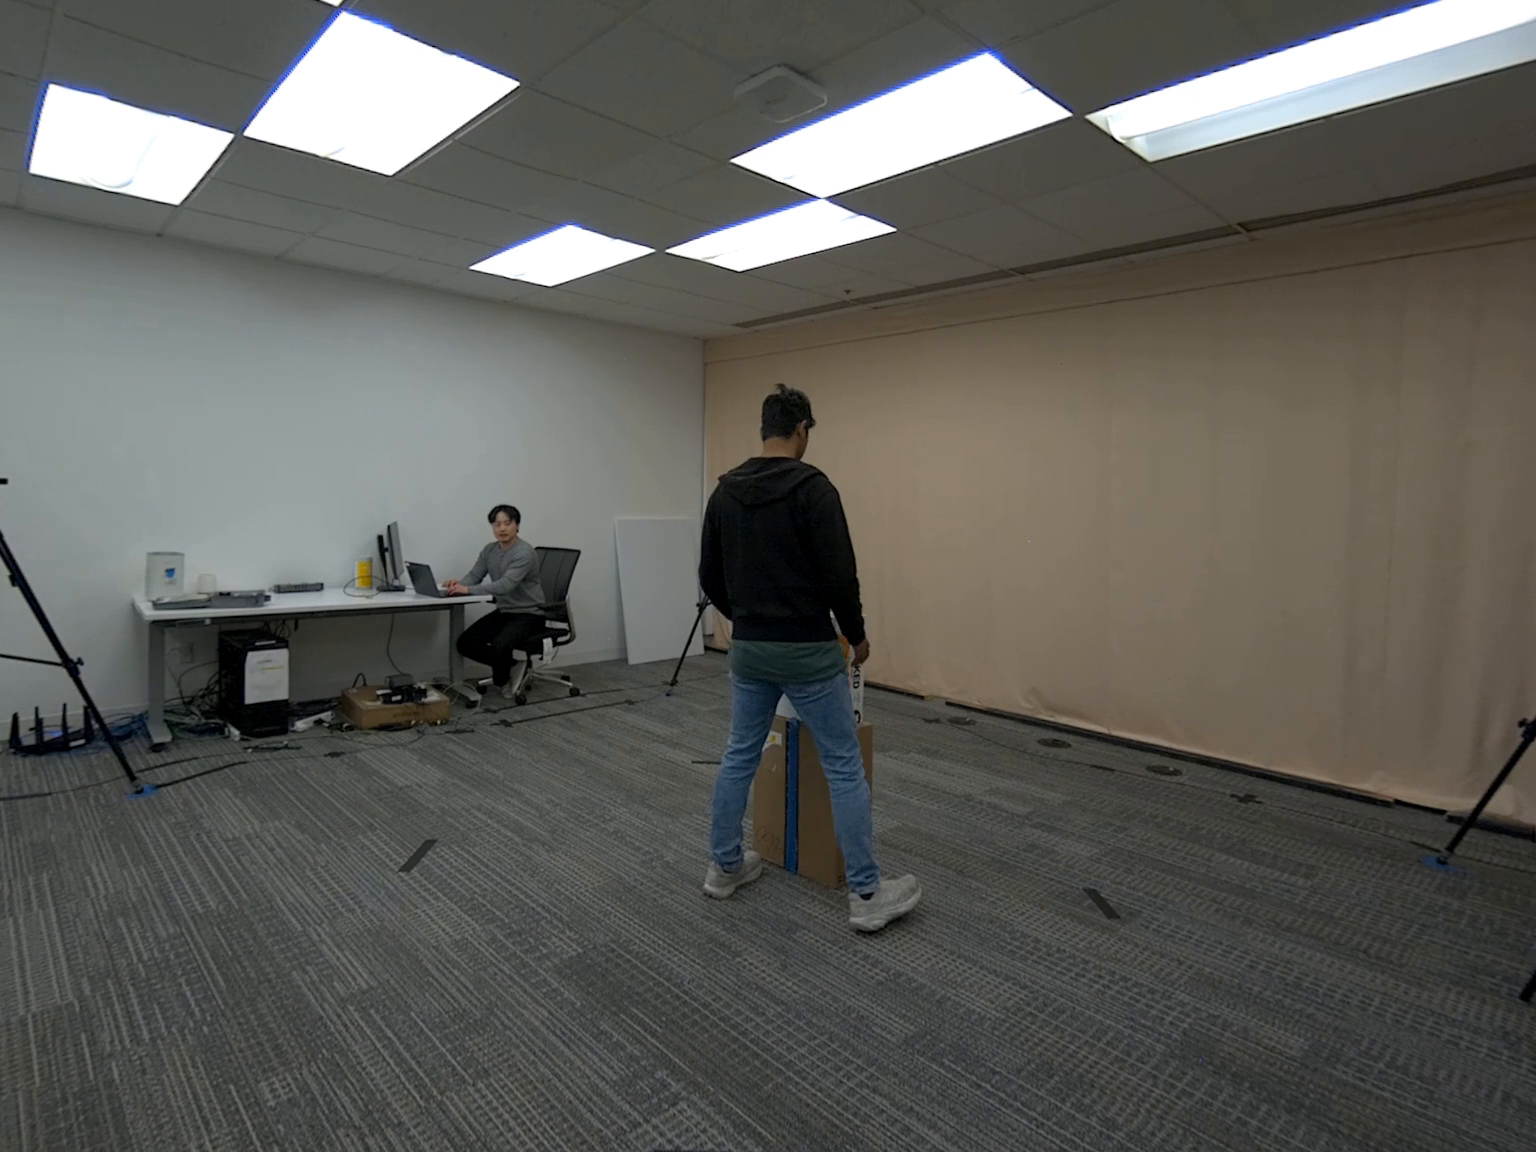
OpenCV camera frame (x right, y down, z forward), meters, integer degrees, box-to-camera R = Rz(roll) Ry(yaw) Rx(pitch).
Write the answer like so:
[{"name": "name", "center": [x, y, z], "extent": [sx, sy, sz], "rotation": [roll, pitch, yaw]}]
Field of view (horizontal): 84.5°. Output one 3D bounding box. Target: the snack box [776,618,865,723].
[{"name": "snack box", "center": [0.169, 0.340, 3.207], "extent": [0.201, 0.405, 0.349], "rotation": [1, 3, -43]}]
